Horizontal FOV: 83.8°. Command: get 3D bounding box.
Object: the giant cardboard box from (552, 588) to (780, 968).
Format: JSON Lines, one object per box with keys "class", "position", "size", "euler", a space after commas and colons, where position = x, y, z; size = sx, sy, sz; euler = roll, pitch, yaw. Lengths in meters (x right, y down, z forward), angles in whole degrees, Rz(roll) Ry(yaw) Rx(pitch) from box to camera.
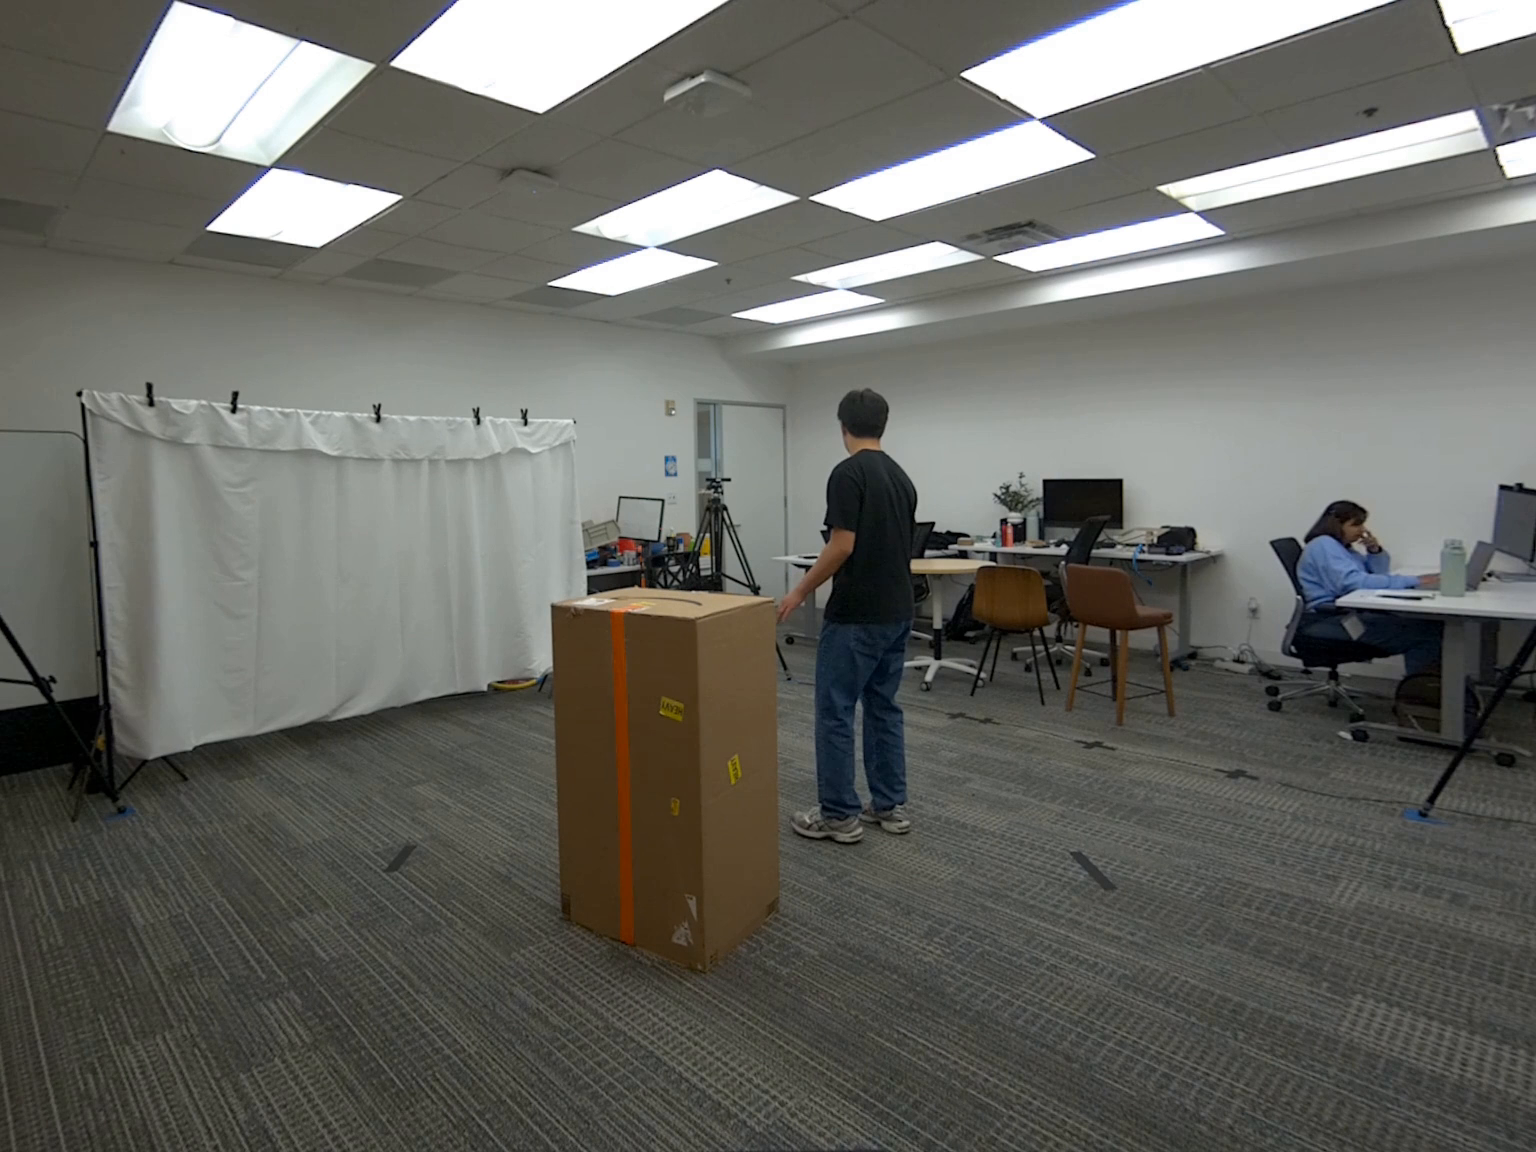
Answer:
{"class": "giant cardboard box", "position": [-0.321, 0.580, 2.714], "size": [0.601, 1.022, 0.436], "euler": [2, 6, 35]}
